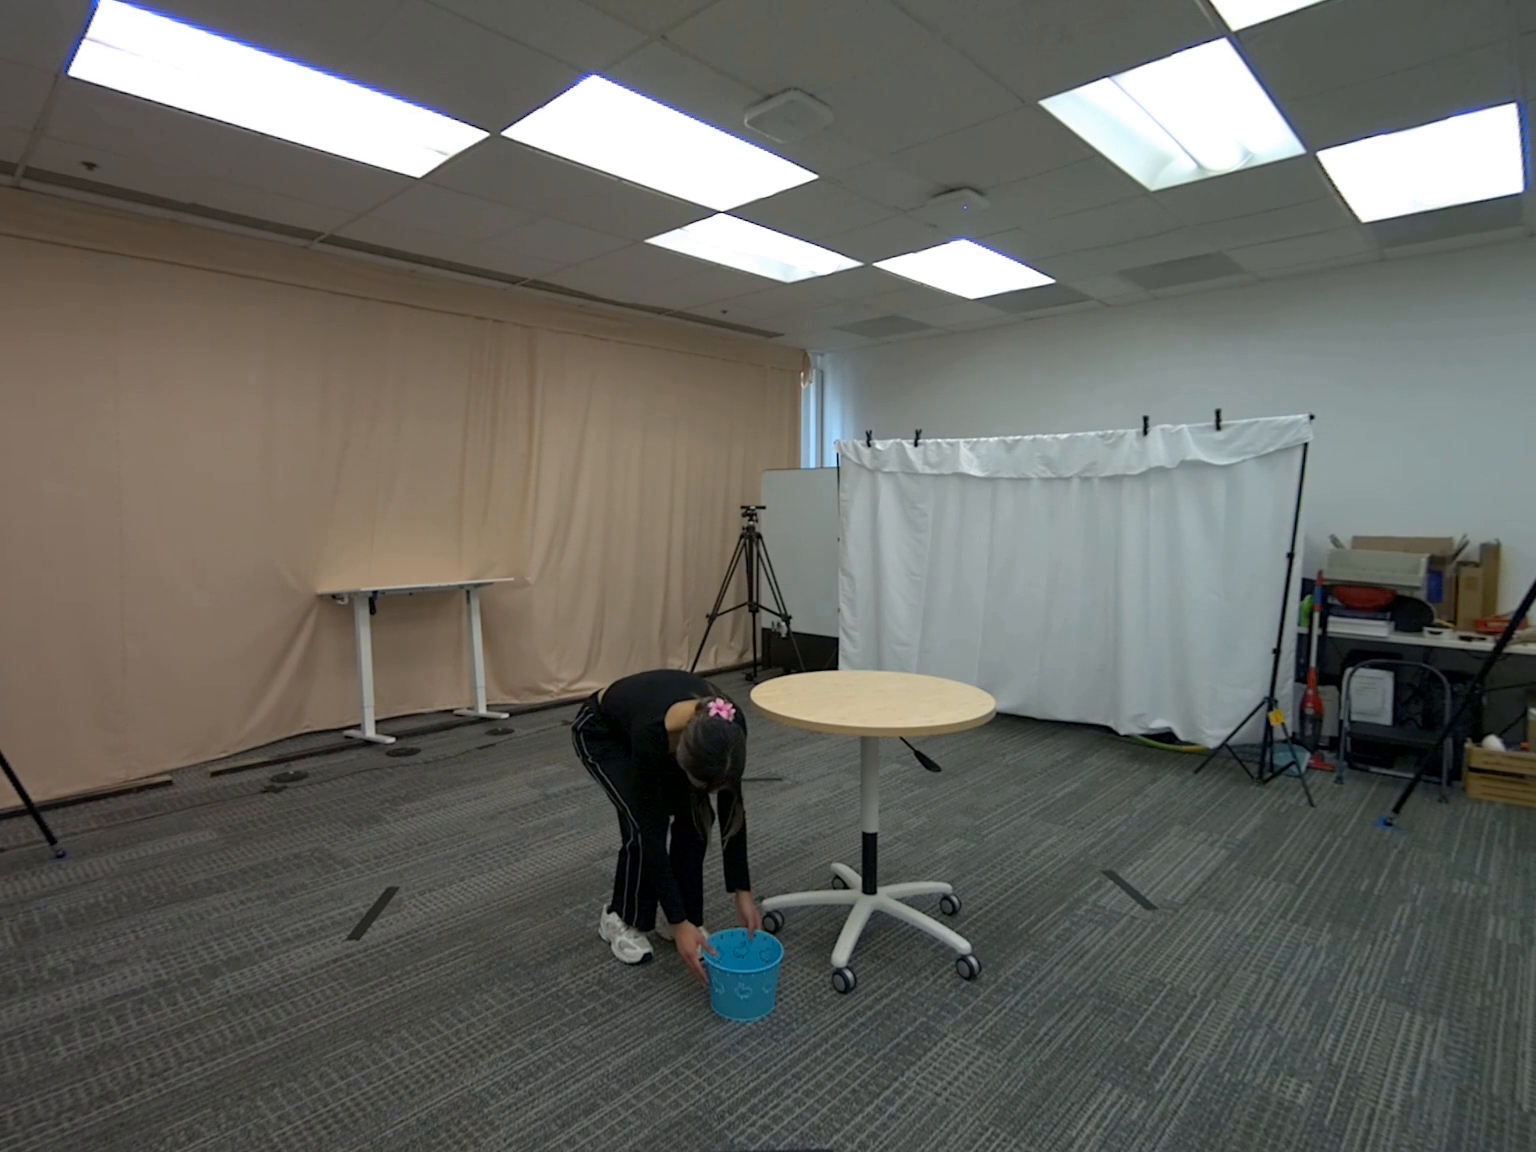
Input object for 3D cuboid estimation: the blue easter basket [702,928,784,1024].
[{"bbox_3d":[-0.067,1.117,2.364,0.243,0.155,0.244,0,4,-2],"label":"blue easter basket"}]
